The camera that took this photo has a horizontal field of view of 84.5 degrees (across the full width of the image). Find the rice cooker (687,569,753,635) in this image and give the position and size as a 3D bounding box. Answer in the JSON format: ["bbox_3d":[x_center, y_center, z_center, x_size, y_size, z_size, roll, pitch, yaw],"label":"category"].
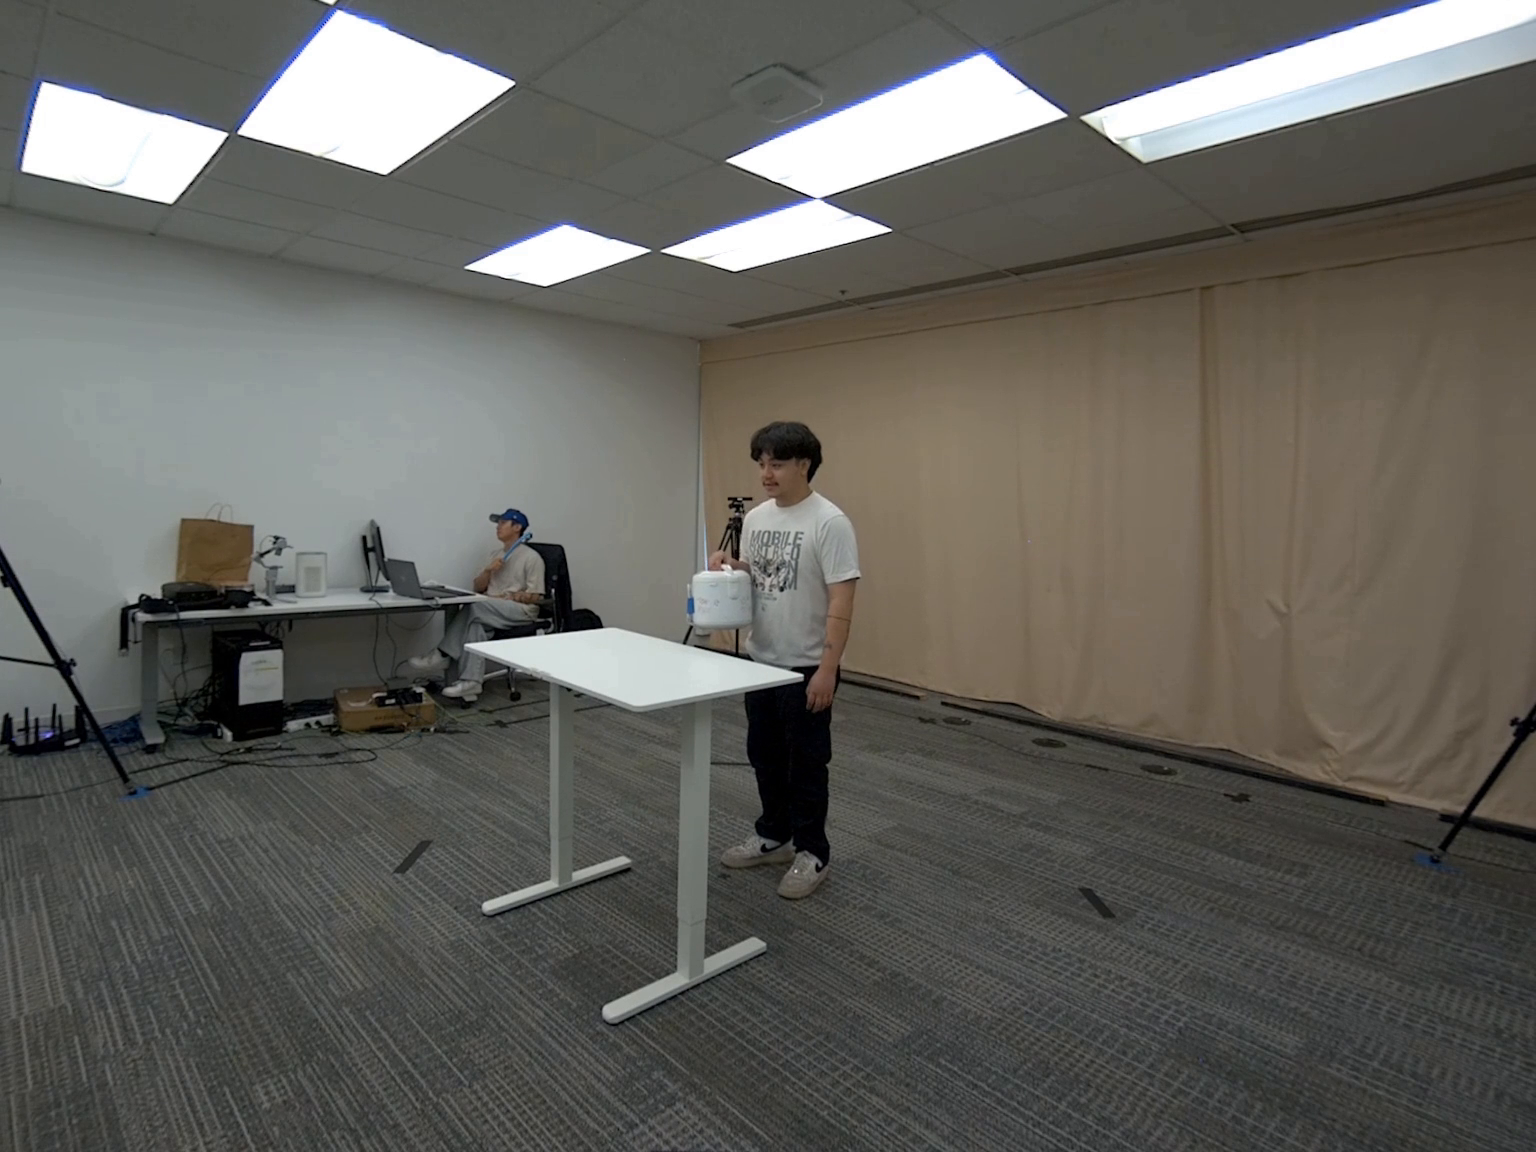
[{"bbox_3d":[-0.172,0.075,3.017,0.214,0.232,0.224,-2,2,-23],"label":"rice cooker"}]
